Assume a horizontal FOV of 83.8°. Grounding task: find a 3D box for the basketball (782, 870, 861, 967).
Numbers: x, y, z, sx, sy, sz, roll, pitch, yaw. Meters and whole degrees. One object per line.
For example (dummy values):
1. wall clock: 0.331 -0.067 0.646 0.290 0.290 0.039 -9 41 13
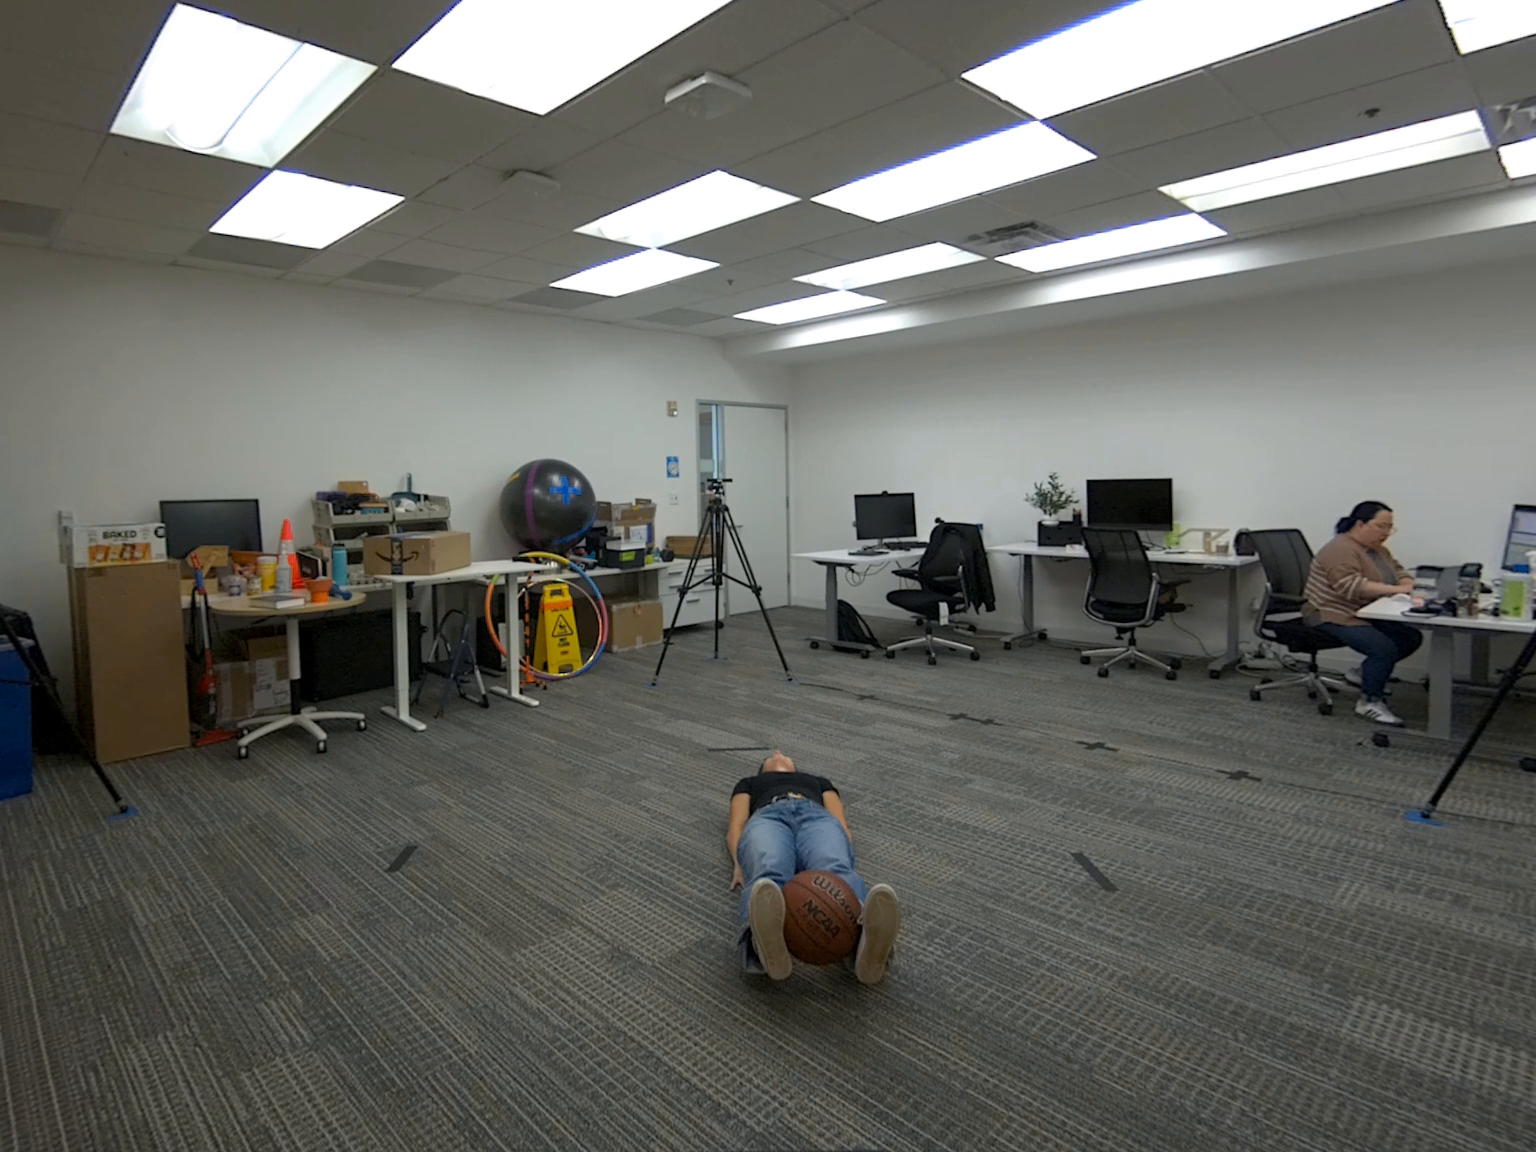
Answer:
1. basketball: 0.142 0.916 2.324 0.236 0.235 0.237 -1 5 -2
